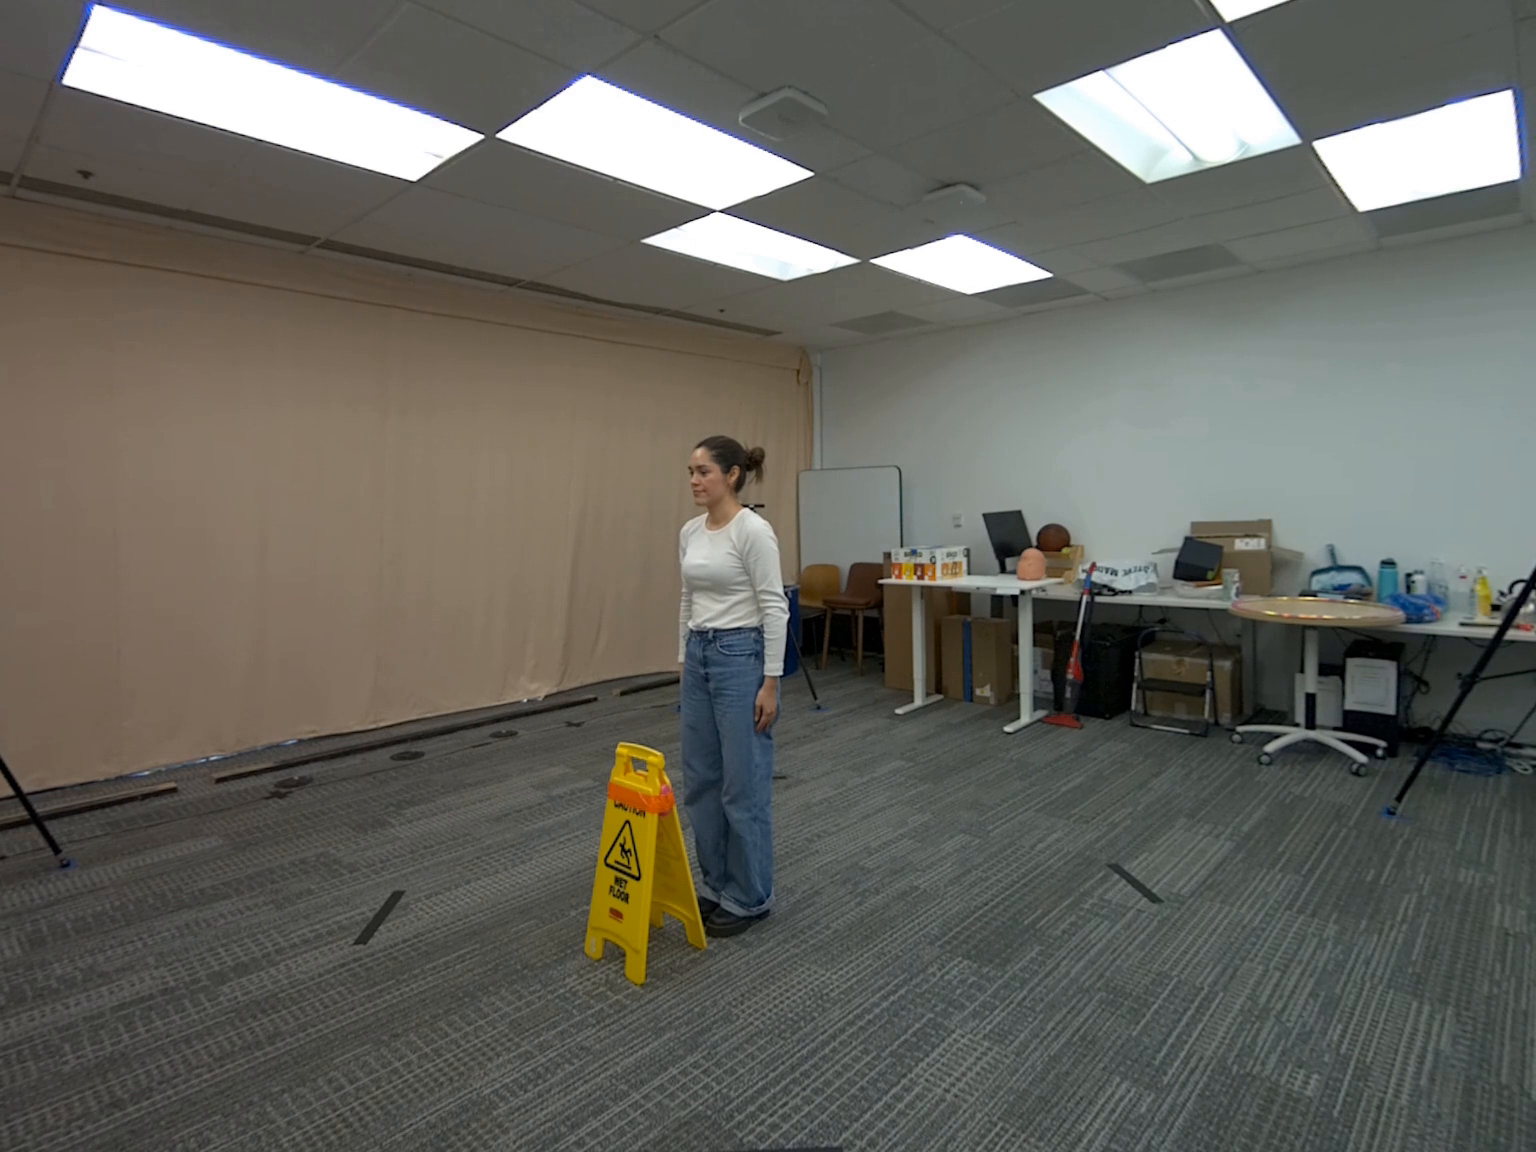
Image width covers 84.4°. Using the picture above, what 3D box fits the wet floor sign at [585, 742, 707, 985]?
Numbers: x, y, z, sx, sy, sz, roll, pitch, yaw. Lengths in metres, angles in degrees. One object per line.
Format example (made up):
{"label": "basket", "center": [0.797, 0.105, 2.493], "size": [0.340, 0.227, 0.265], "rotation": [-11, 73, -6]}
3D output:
{"label": "wet floor sign", "center": [-0.388, 0.855, 2.620], "size": [0.291, 0.645, 0.281], "rotation": [0, 4, 43]}
